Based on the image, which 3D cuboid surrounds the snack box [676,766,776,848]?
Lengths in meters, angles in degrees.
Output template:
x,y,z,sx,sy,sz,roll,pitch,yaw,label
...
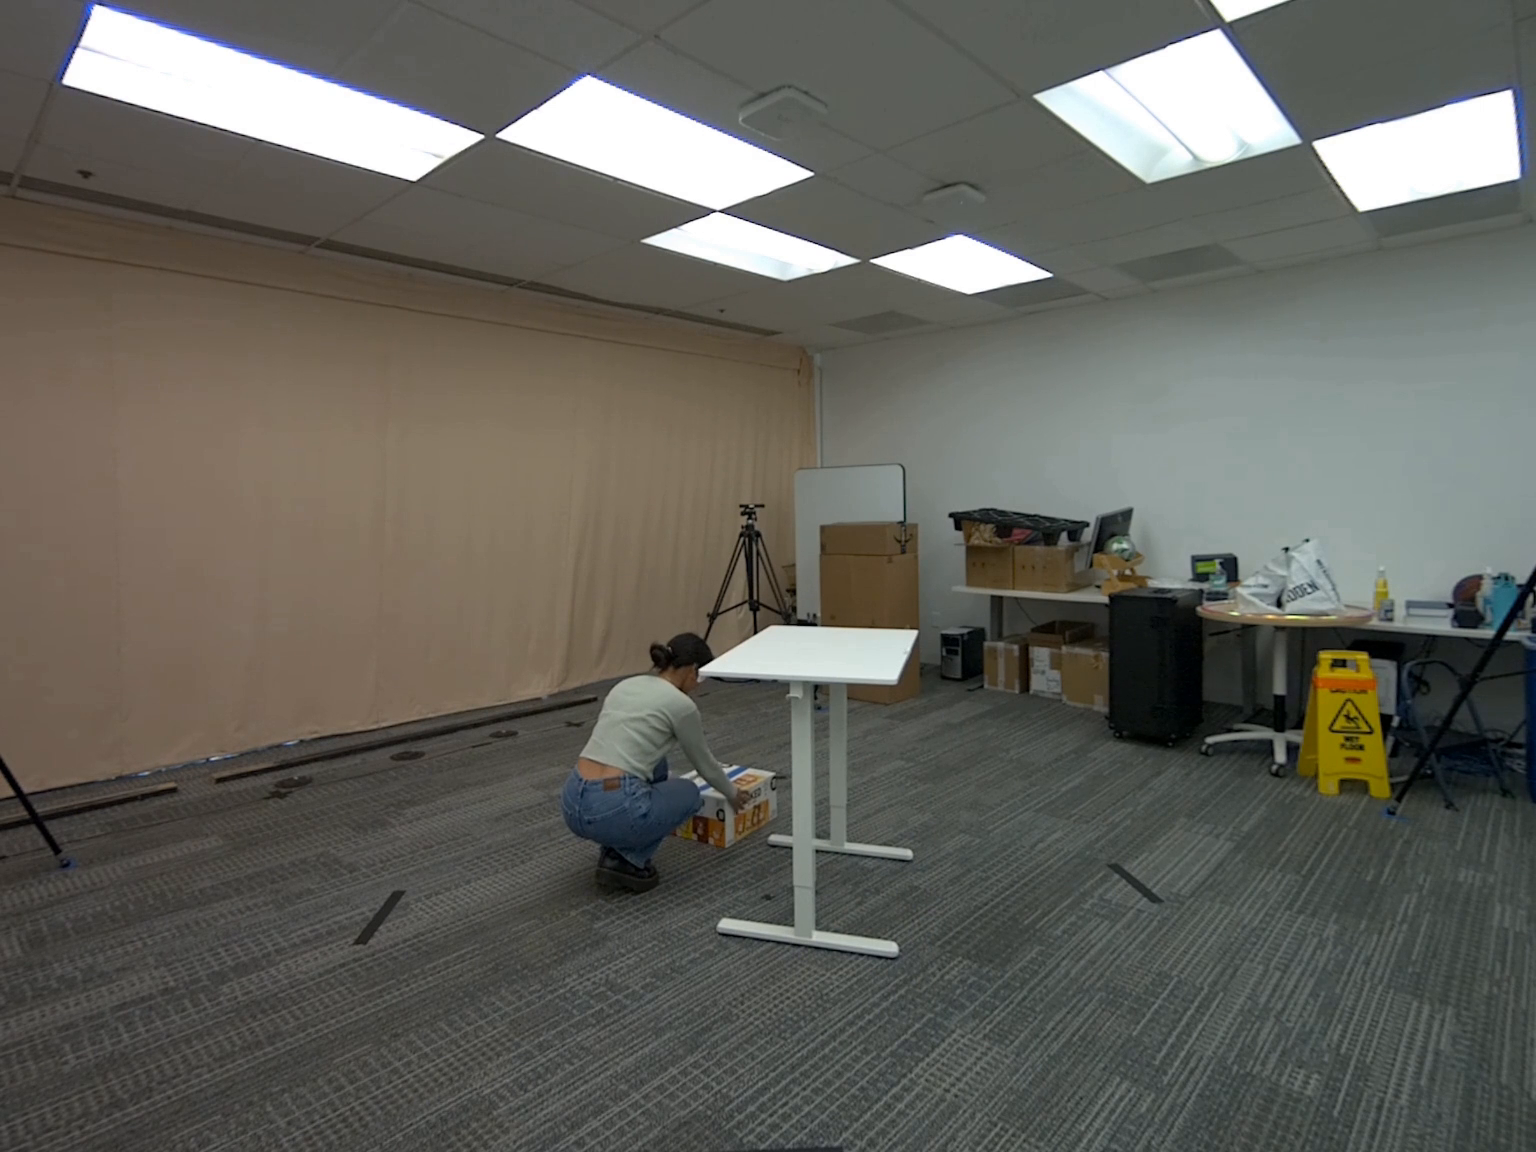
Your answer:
x,y,z,sx,sy,sz,roll,pitch,yaw,label
-0.212,0.986,3.665,0.351,0.205,0.394,2,5,33,snack box
